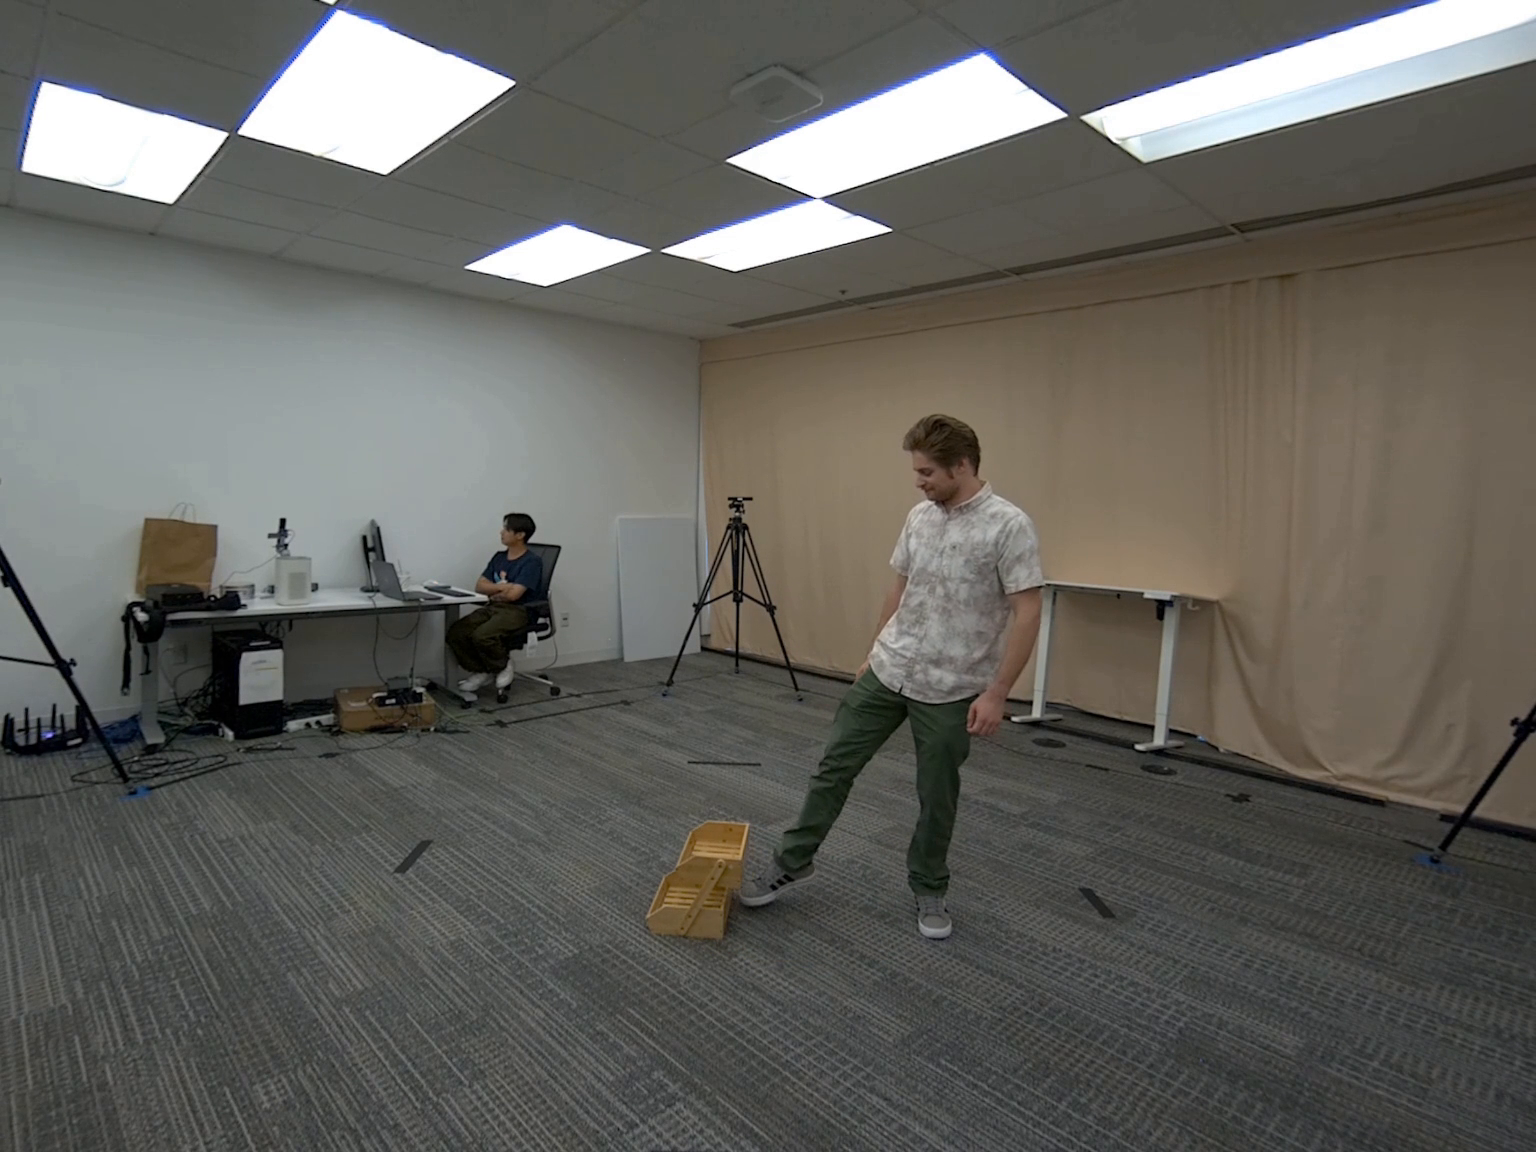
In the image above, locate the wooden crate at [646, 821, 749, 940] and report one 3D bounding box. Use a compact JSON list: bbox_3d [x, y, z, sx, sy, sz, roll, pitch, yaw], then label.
[{"bbox_3d":[-0.231,0.993,2.808,0.303,0.272,0.324,2,4,4],"label":"wooden crate"}]
